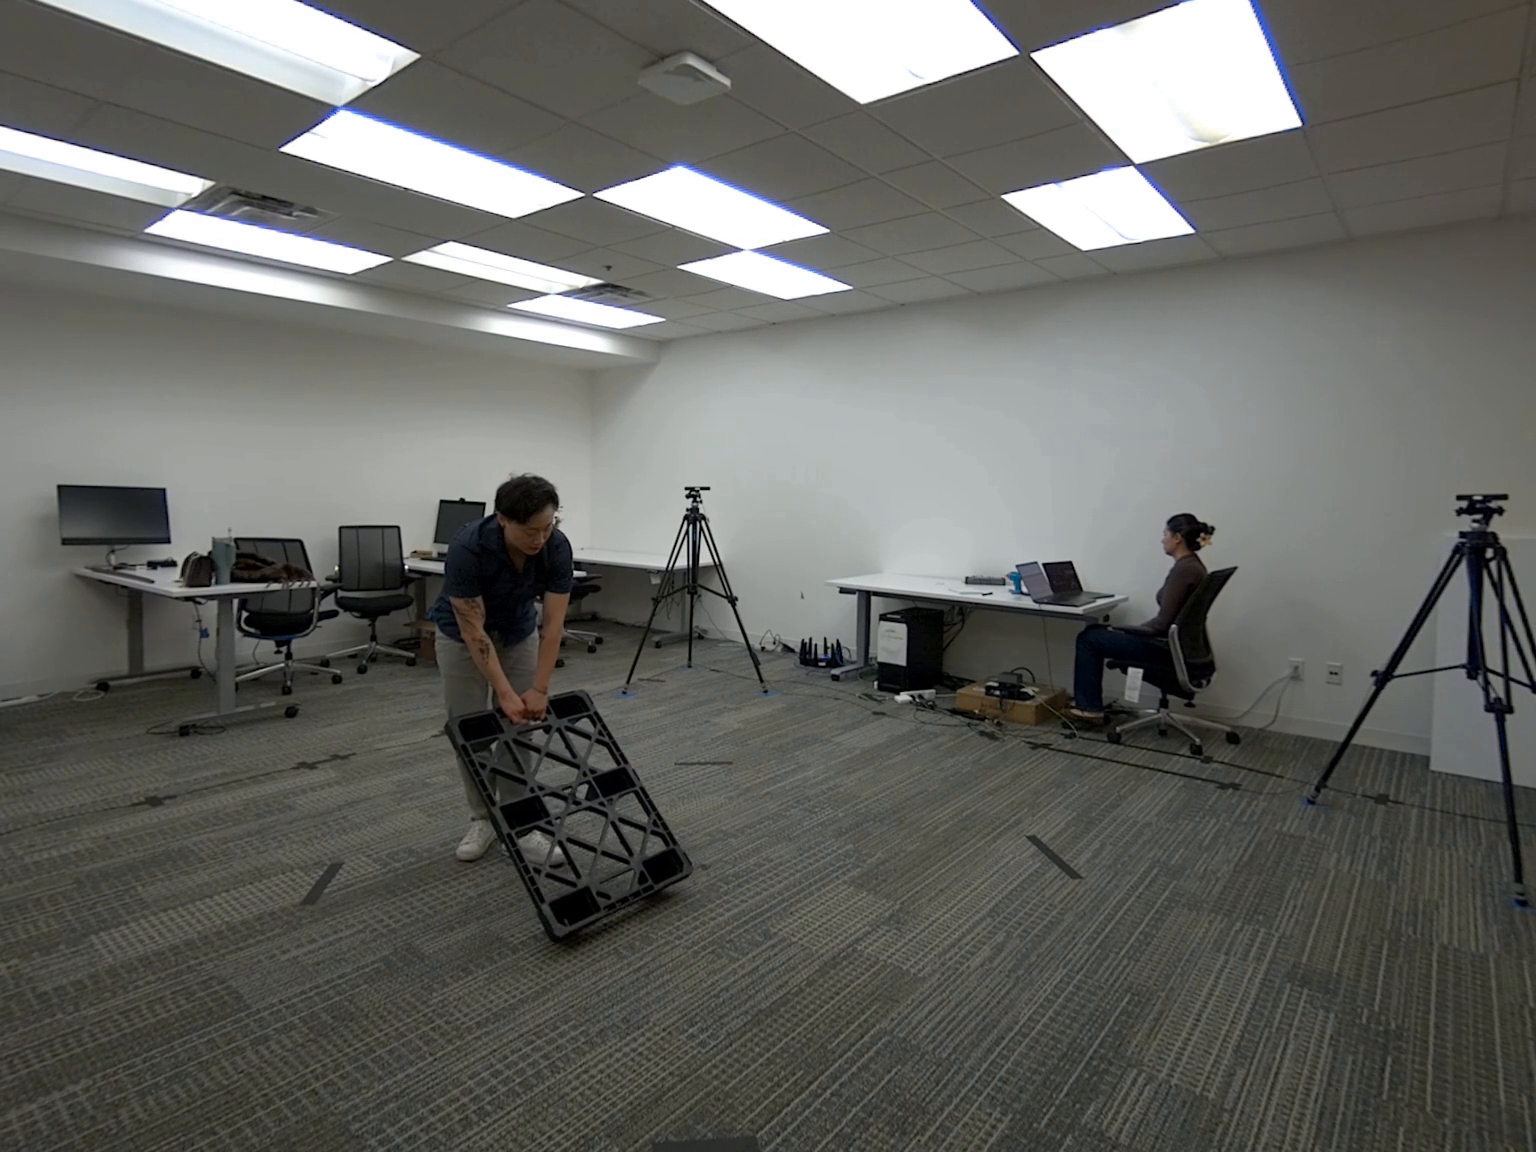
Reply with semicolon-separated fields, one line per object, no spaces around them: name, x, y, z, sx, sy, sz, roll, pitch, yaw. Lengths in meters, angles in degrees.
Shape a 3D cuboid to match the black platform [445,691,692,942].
black platform;-0.704;0.781;2.906;0.587;0.143;0.833;-4;48;-50
